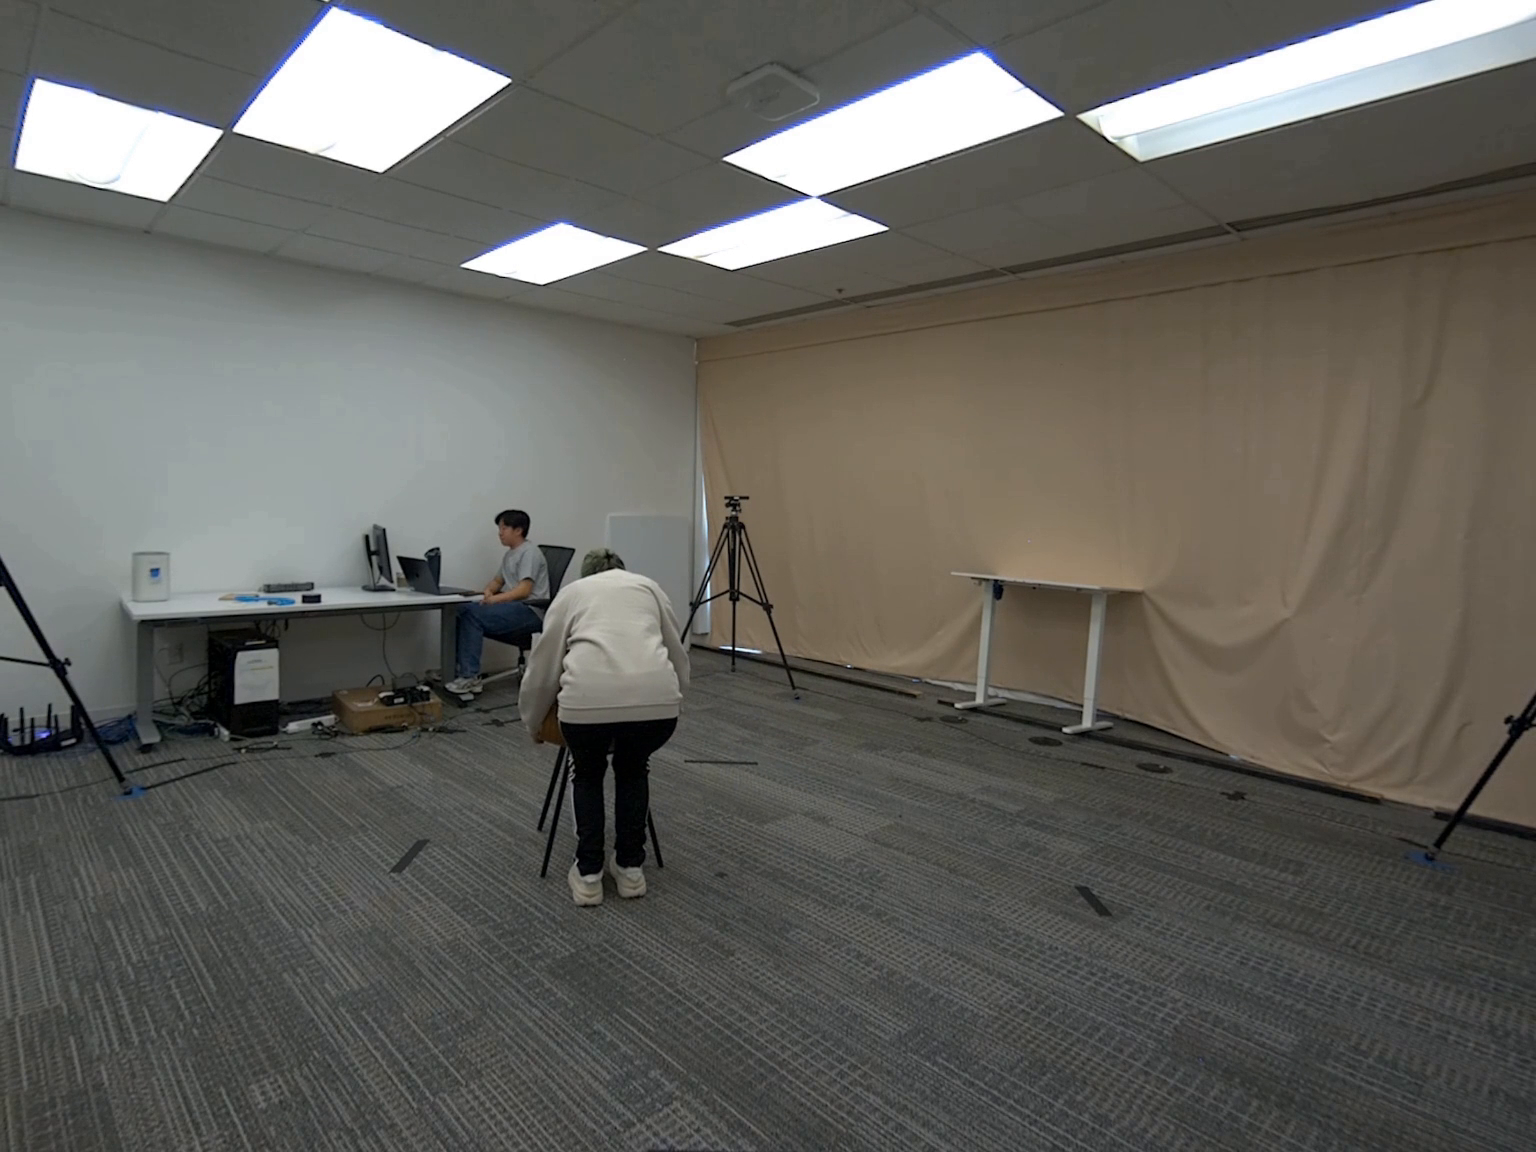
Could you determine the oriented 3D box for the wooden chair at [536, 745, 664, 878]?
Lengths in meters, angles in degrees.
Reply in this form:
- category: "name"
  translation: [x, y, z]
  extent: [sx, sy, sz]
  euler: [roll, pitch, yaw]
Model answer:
- category: "wooden chair"
  translation: [-0.669, 0.650, 3.303]
  extent: [0.472, 0.873, 0.532]
  euler: [0, 8, -16]
